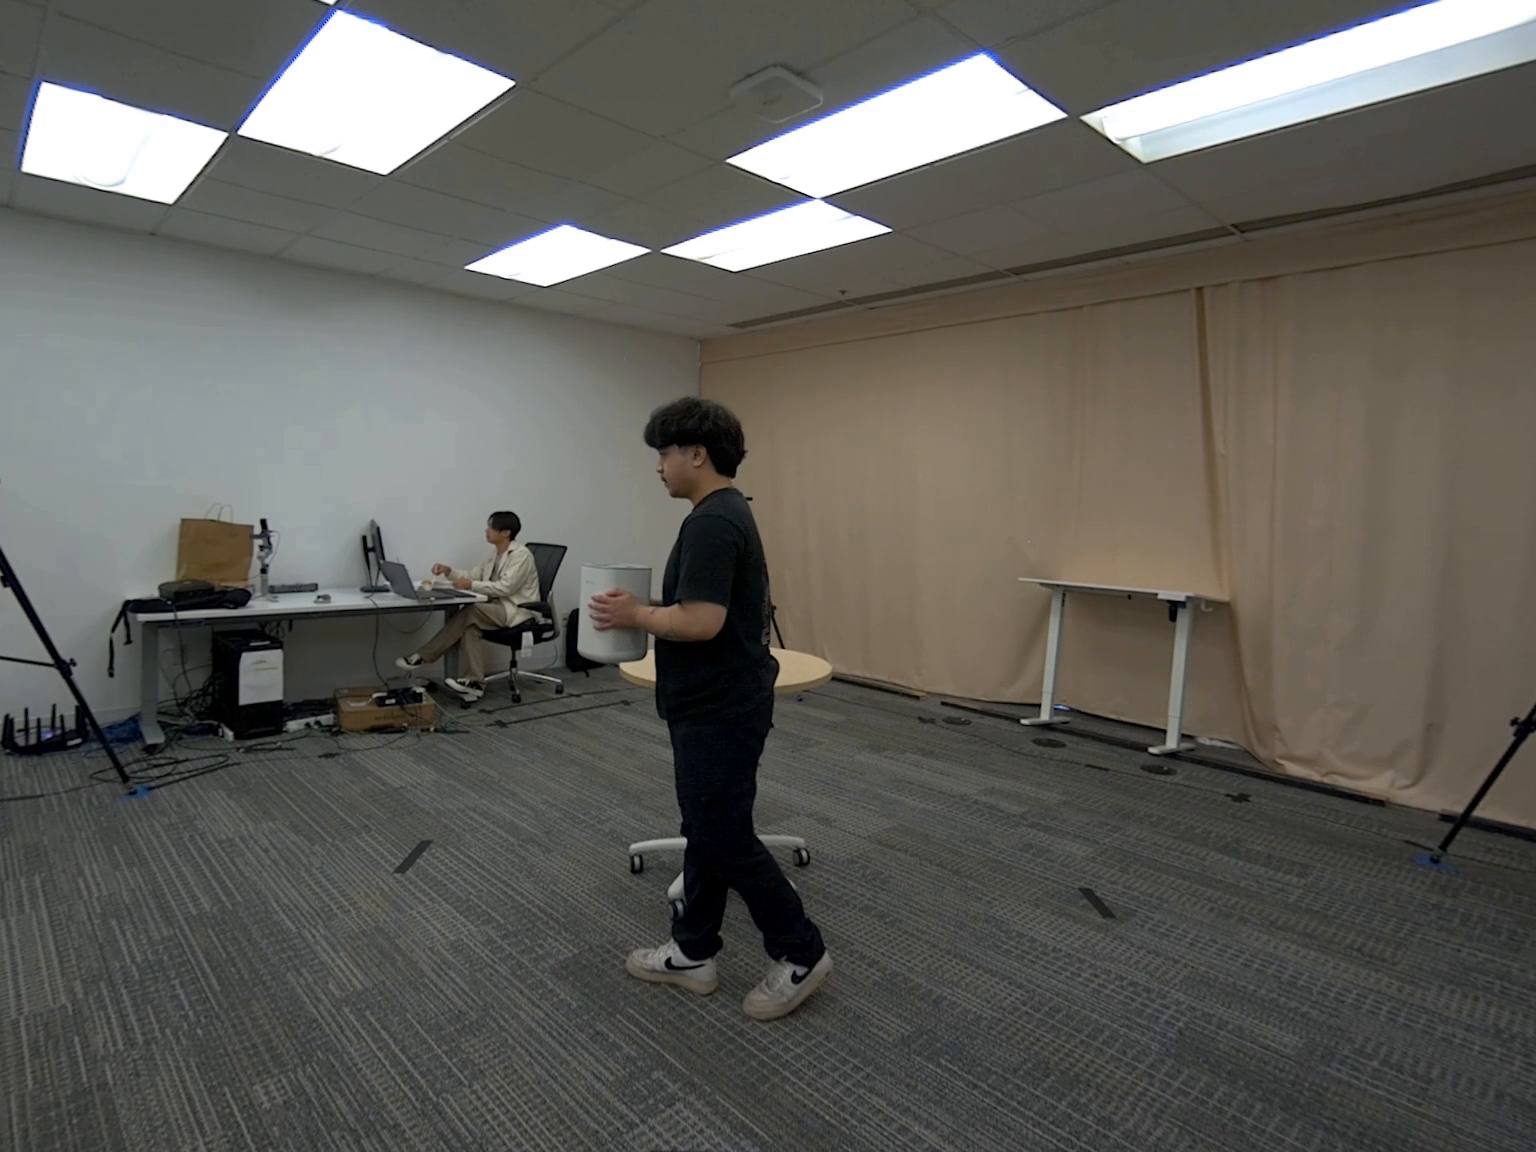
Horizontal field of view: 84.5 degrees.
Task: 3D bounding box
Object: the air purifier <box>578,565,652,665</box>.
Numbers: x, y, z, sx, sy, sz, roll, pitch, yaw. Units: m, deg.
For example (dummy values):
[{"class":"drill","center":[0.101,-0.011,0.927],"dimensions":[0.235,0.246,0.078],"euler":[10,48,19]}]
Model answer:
[{"class":"air purifier","center":[-0.427,0.106,2.366],"dimensions":[0.167,0.265,0.175],"euler":[2,2,-43]}]
